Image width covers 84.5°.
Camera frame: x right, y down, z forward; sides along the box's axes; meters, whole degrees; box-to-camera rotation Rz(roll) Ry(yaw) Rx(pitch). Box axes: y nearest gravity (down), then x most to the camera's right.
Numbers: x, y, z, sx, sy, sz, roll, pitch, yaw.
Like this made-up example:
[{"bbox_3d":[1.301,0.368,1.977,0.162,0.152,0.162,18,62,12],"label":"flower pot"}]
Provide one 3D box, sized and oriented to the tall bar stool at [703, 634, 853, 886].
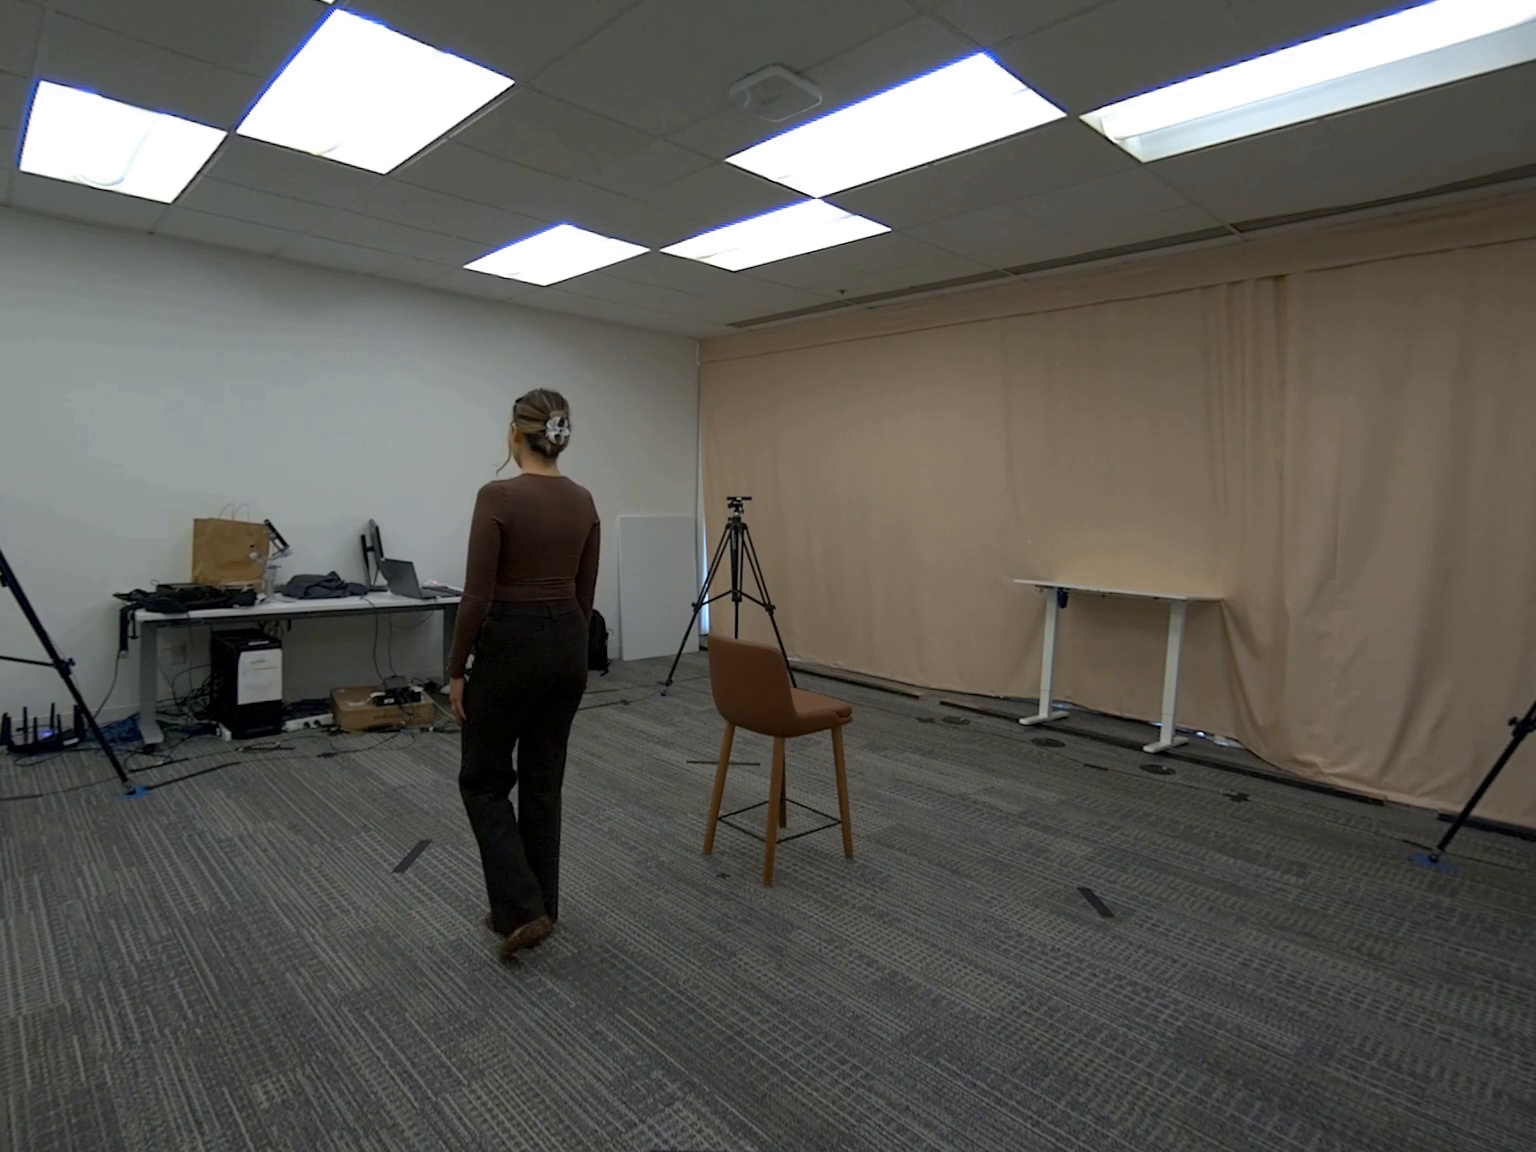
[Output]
[{"bbox_3d":[0.036,0.661,3.275,0.457,0.887,0.468,-4,6,-42],"label":"tall bar stool"}]
